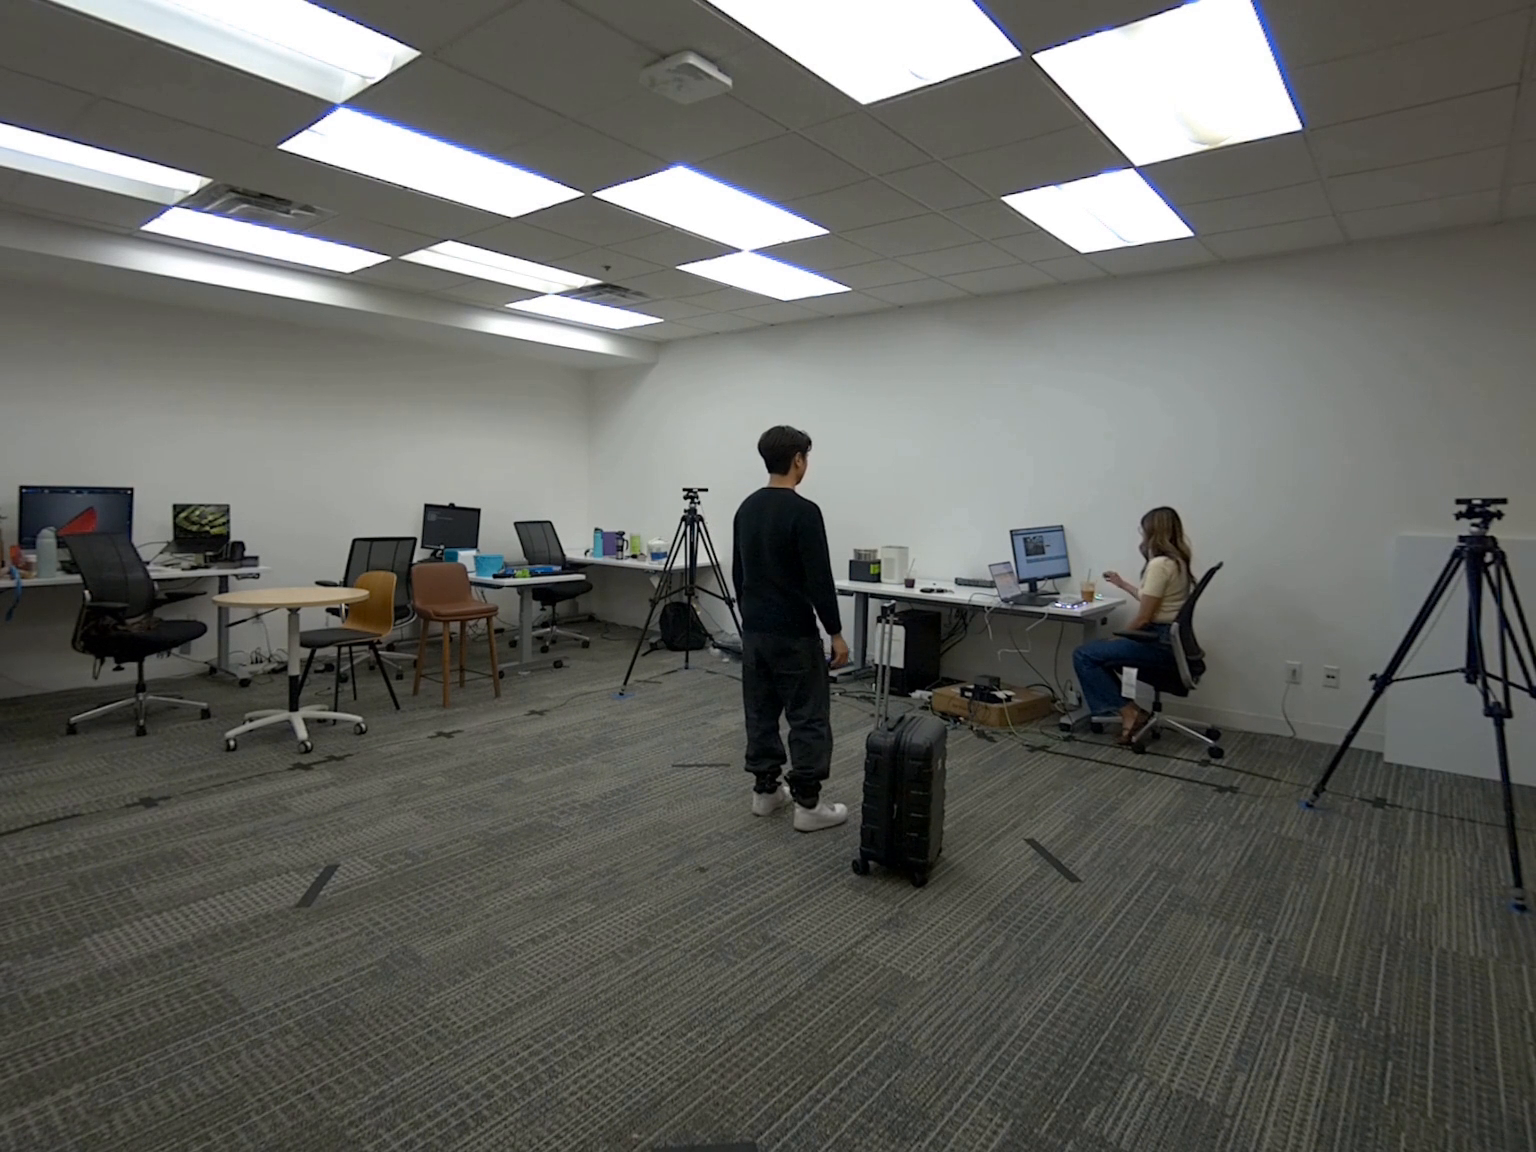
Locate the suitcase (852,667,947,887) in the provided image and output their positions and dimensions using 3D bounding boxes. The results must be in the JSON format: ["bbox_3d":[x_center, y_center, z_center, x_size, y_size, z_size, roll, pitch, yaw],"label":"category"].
[{"bbox_3d":[0.518,0.601,3.150,0.264,0.974,0.376,6,5,23],"label":"suitcase"}]
